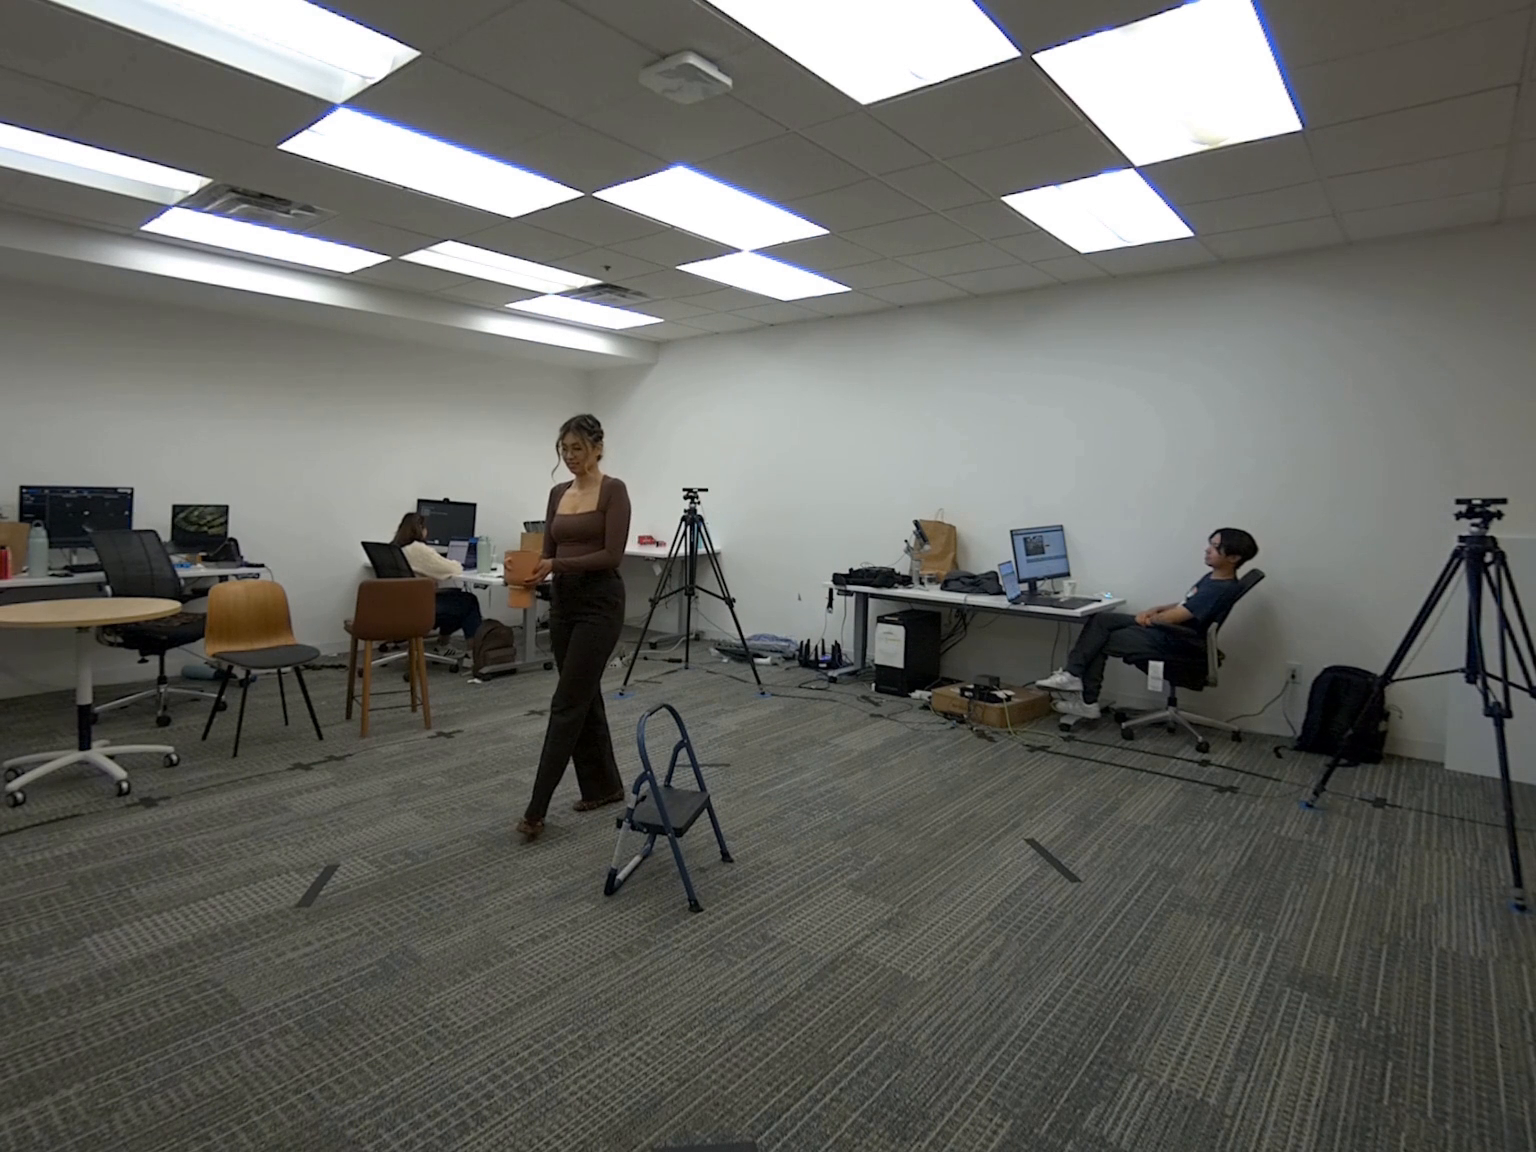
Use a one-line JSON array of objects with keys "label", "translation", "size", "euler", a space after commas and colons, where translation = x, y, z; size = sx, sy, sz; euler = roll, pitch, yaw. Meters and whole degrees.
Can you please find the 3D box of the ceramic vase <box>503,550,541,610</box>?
[{"label": "ceramic vase", "translation": [-0.993, 0.008, 3.350], "size": [0.155, 0.220, 0.138], "euler": [1, 0, -24]}]
